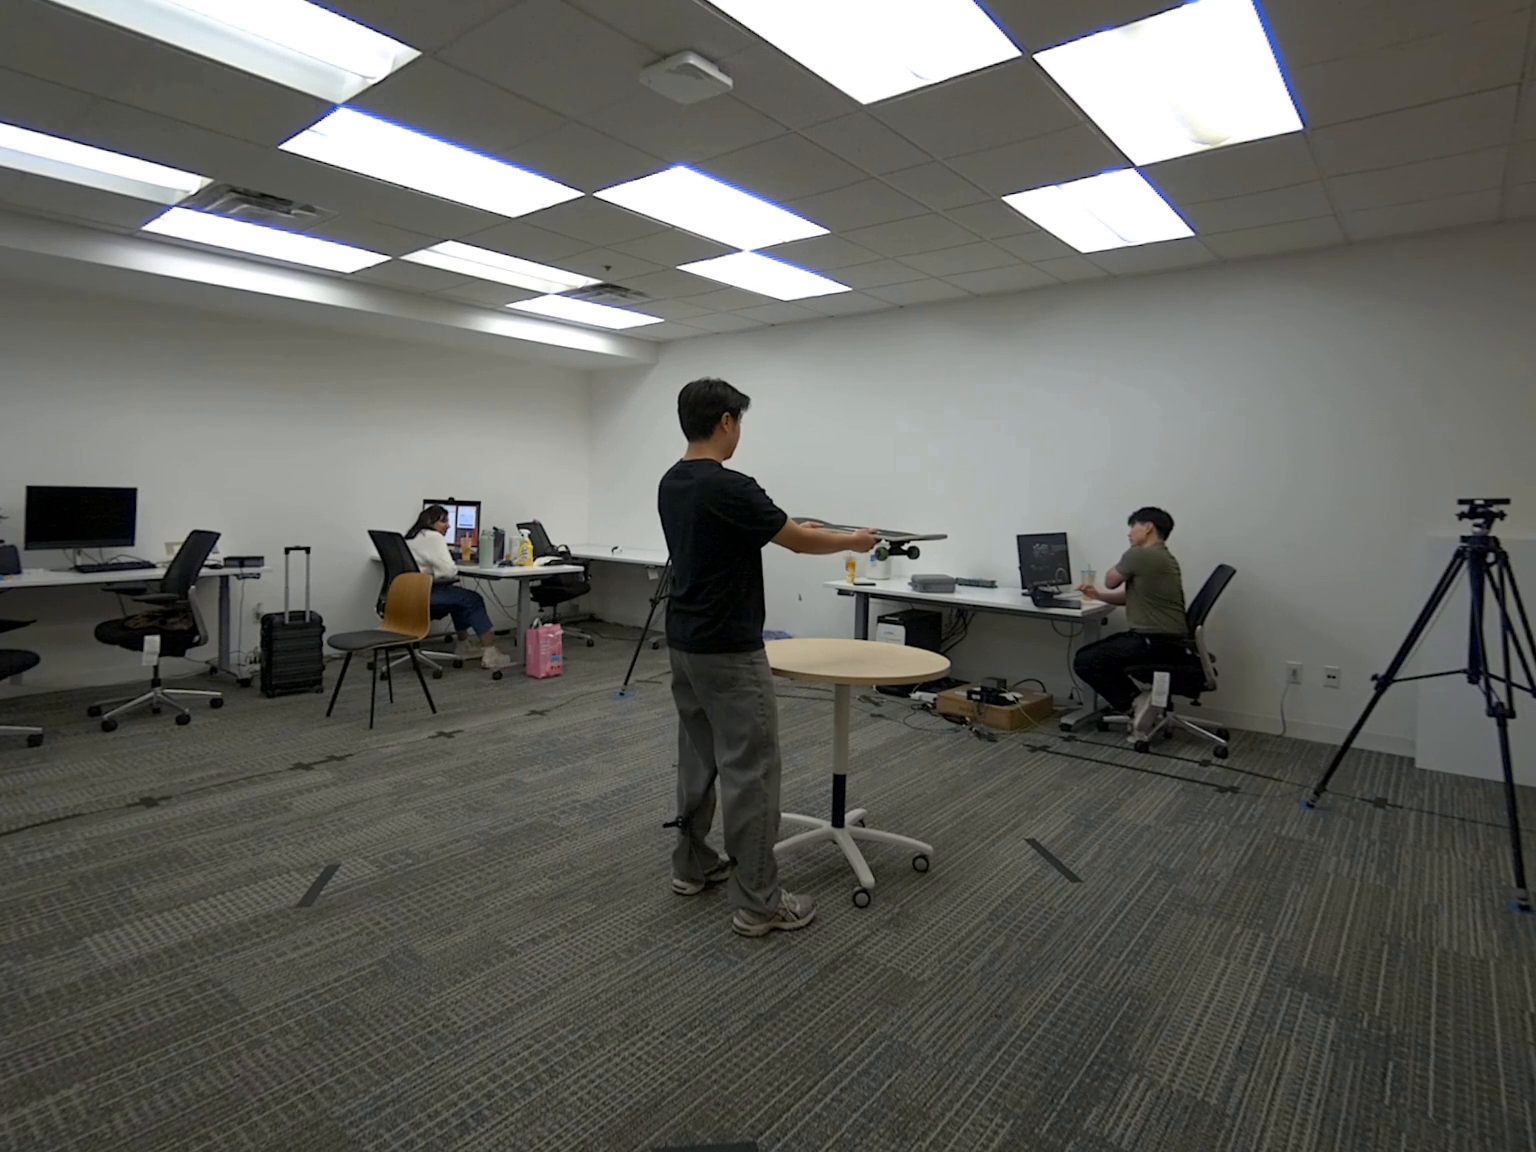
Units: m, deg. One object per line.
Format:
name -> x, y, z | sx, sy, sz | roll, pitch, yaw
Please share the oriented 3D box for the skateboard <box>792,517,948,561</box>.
skateboard -> 0.347, -0.146, 3.181 | 0.188, 0.110, 0.812 | 1, 7, -34
